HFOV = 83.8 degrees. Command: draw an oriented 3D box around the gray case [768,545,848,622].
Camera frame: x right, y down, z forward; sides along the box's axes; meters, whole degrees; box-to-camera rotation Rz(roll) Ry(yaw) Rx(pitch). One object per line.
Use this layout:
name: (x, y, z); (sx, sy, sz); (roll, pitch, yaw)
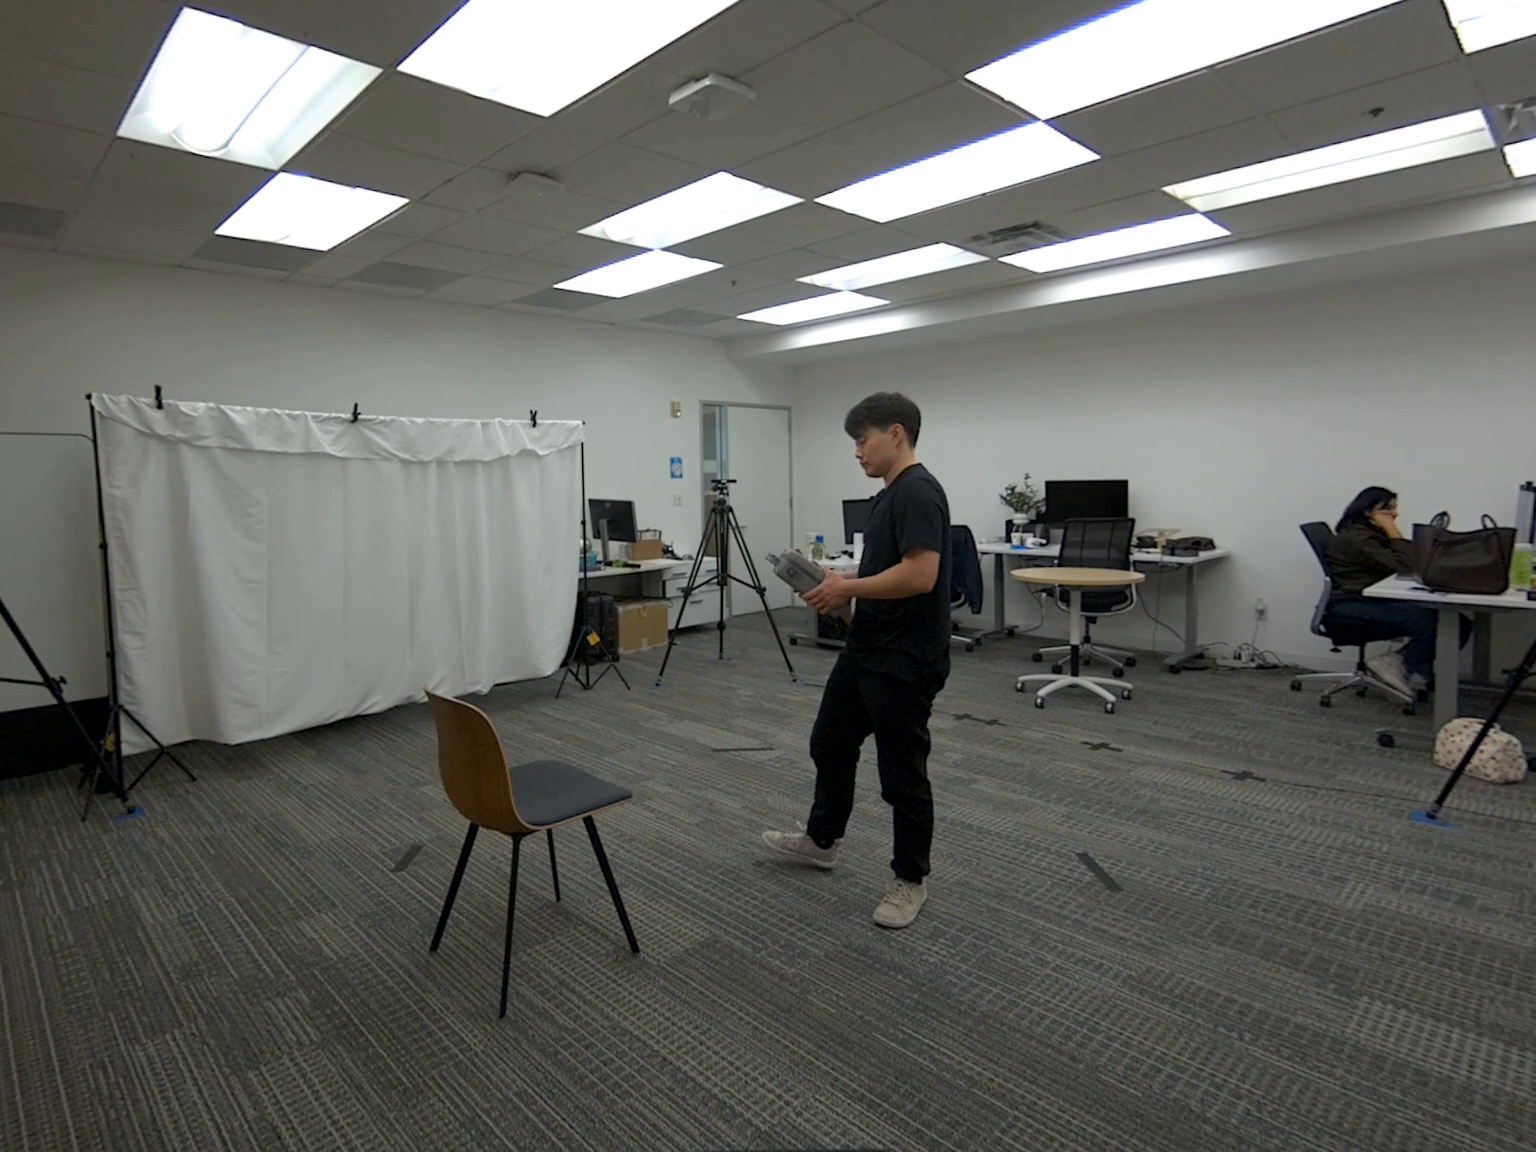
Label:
gray case: (0.138, 0.017, 2.758); (0.261, 0.104, 0.256); (35, 2, 1)
